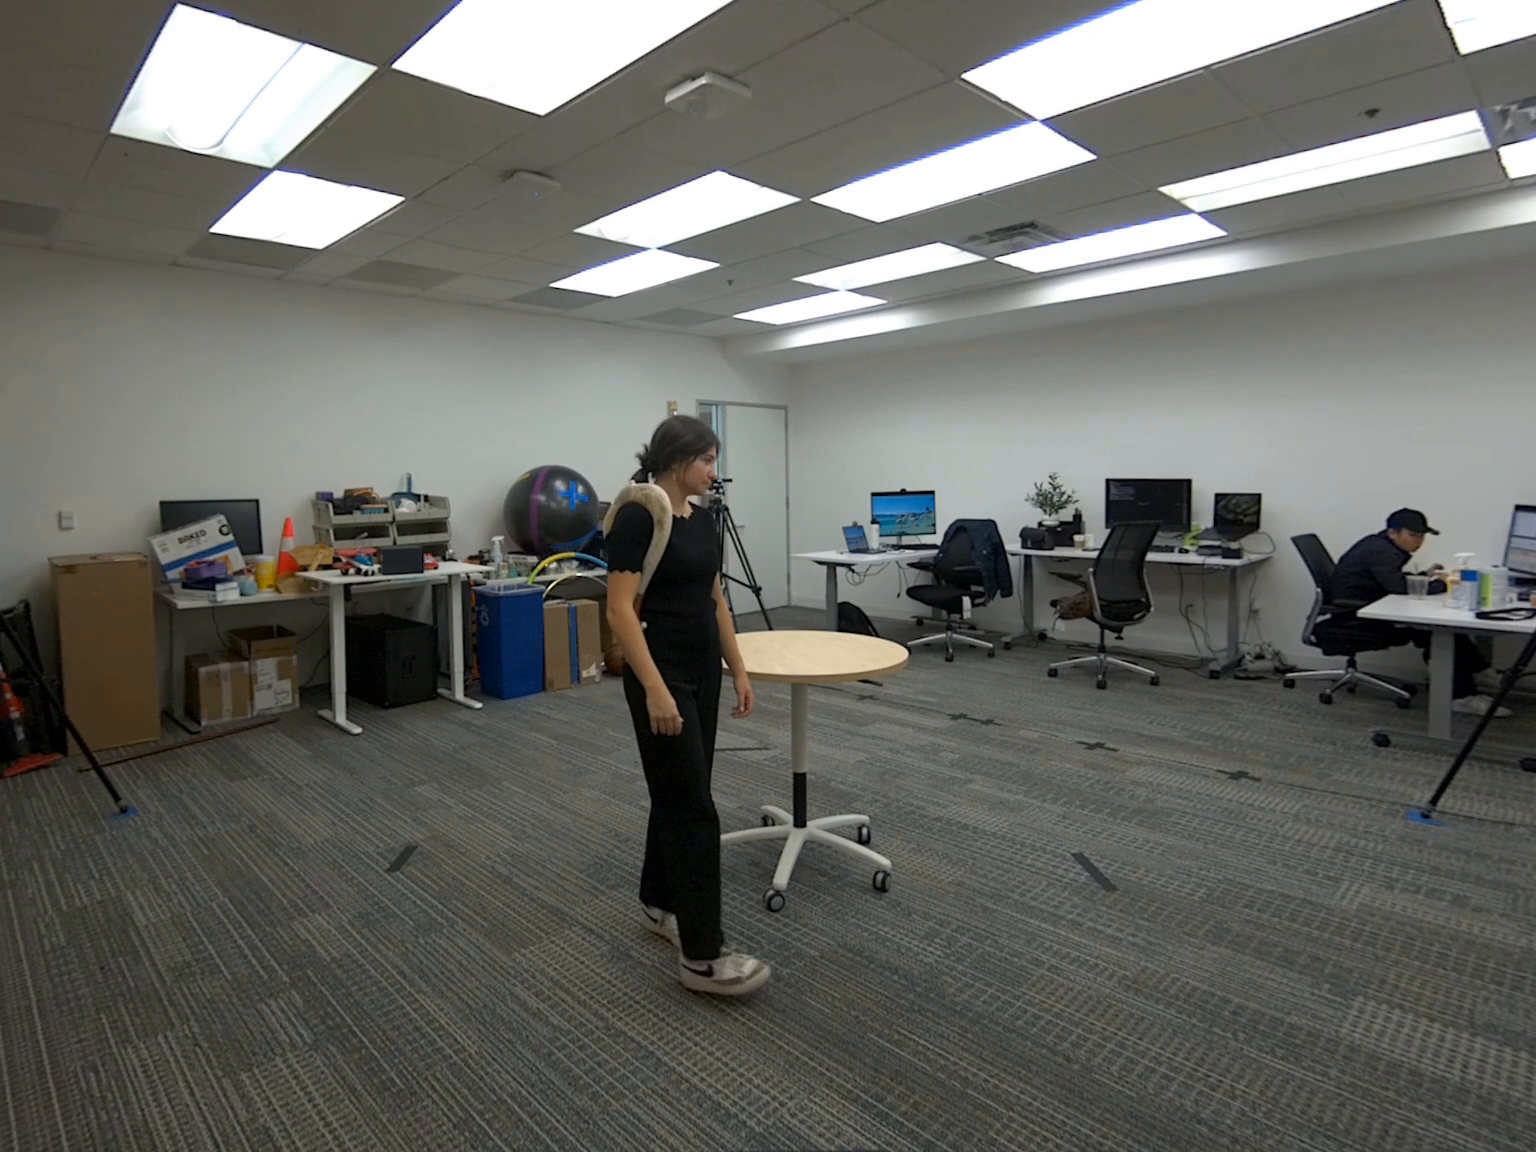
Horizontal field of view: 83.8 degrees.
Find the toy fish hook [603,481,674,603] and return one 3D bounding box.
[{"bbox_3d":[-0.404,-0.015,2.427,0.231,0.507,0.047,8,-1,33],"label":"toy fish hook"}]
